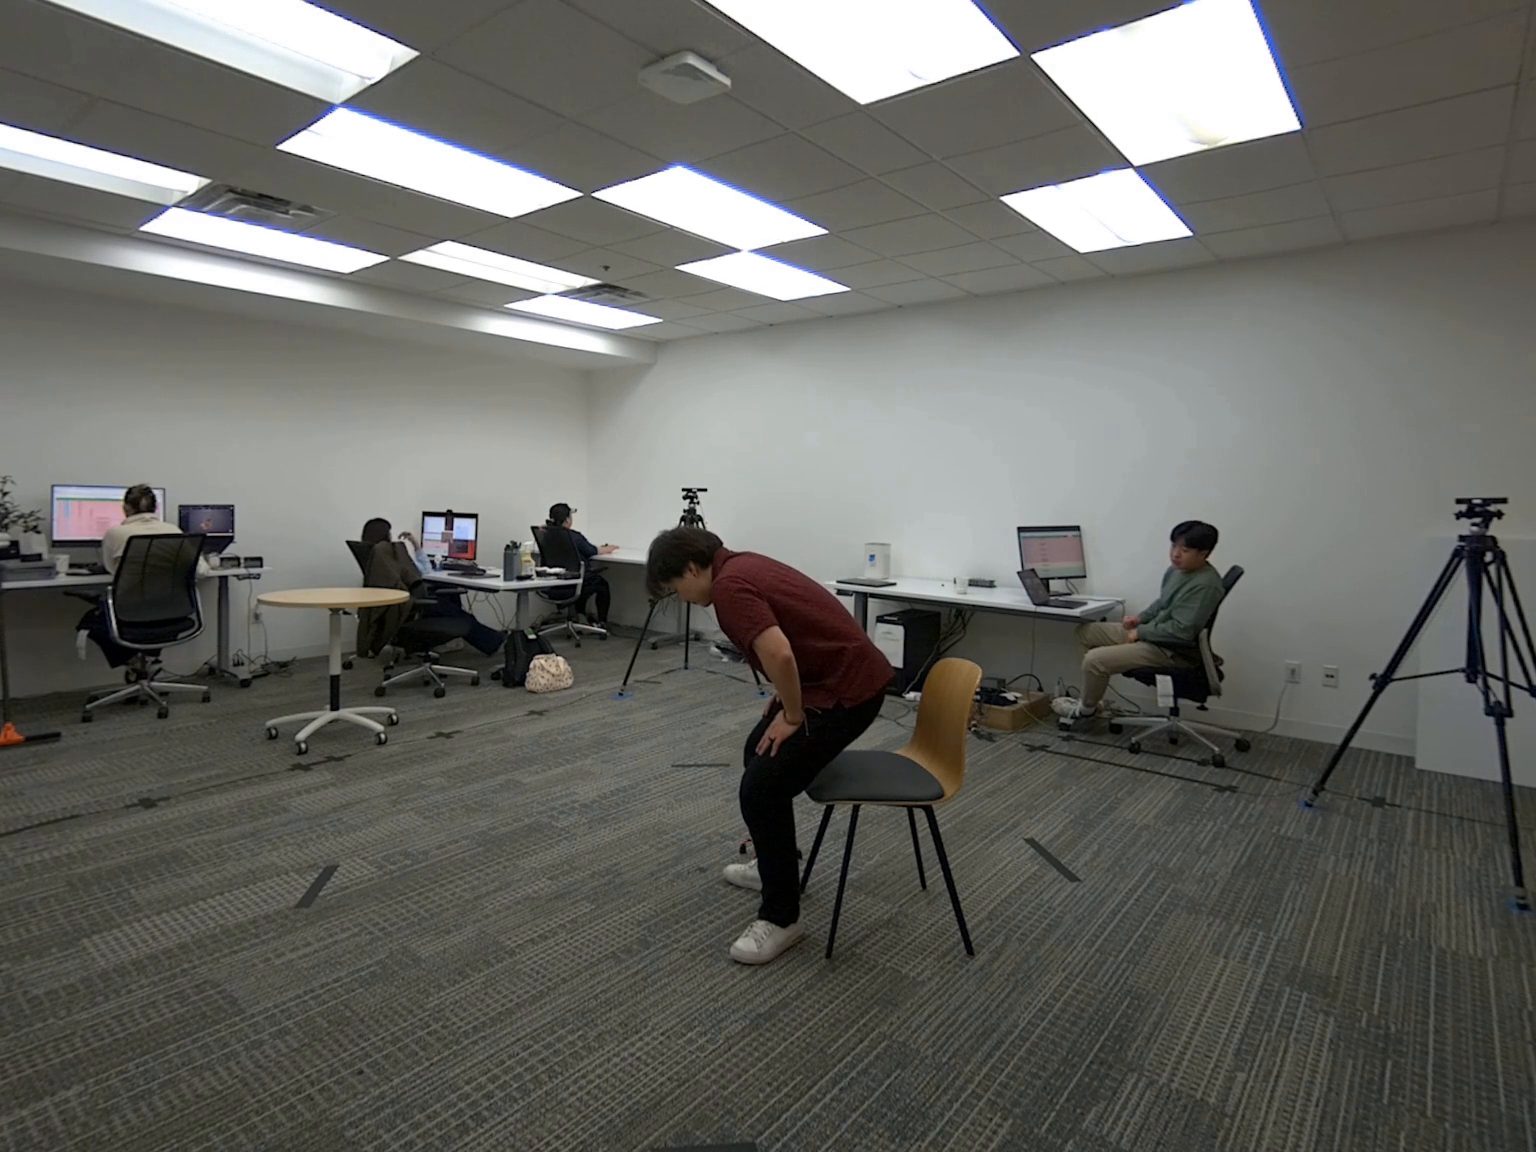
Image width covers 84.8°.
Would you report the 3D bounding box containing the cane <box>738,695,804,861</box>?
[{"bbox_3d":[0.016,0.604,3.213,0.201,0.904,0.156,-1,4,-28],"label":"cane"}]
